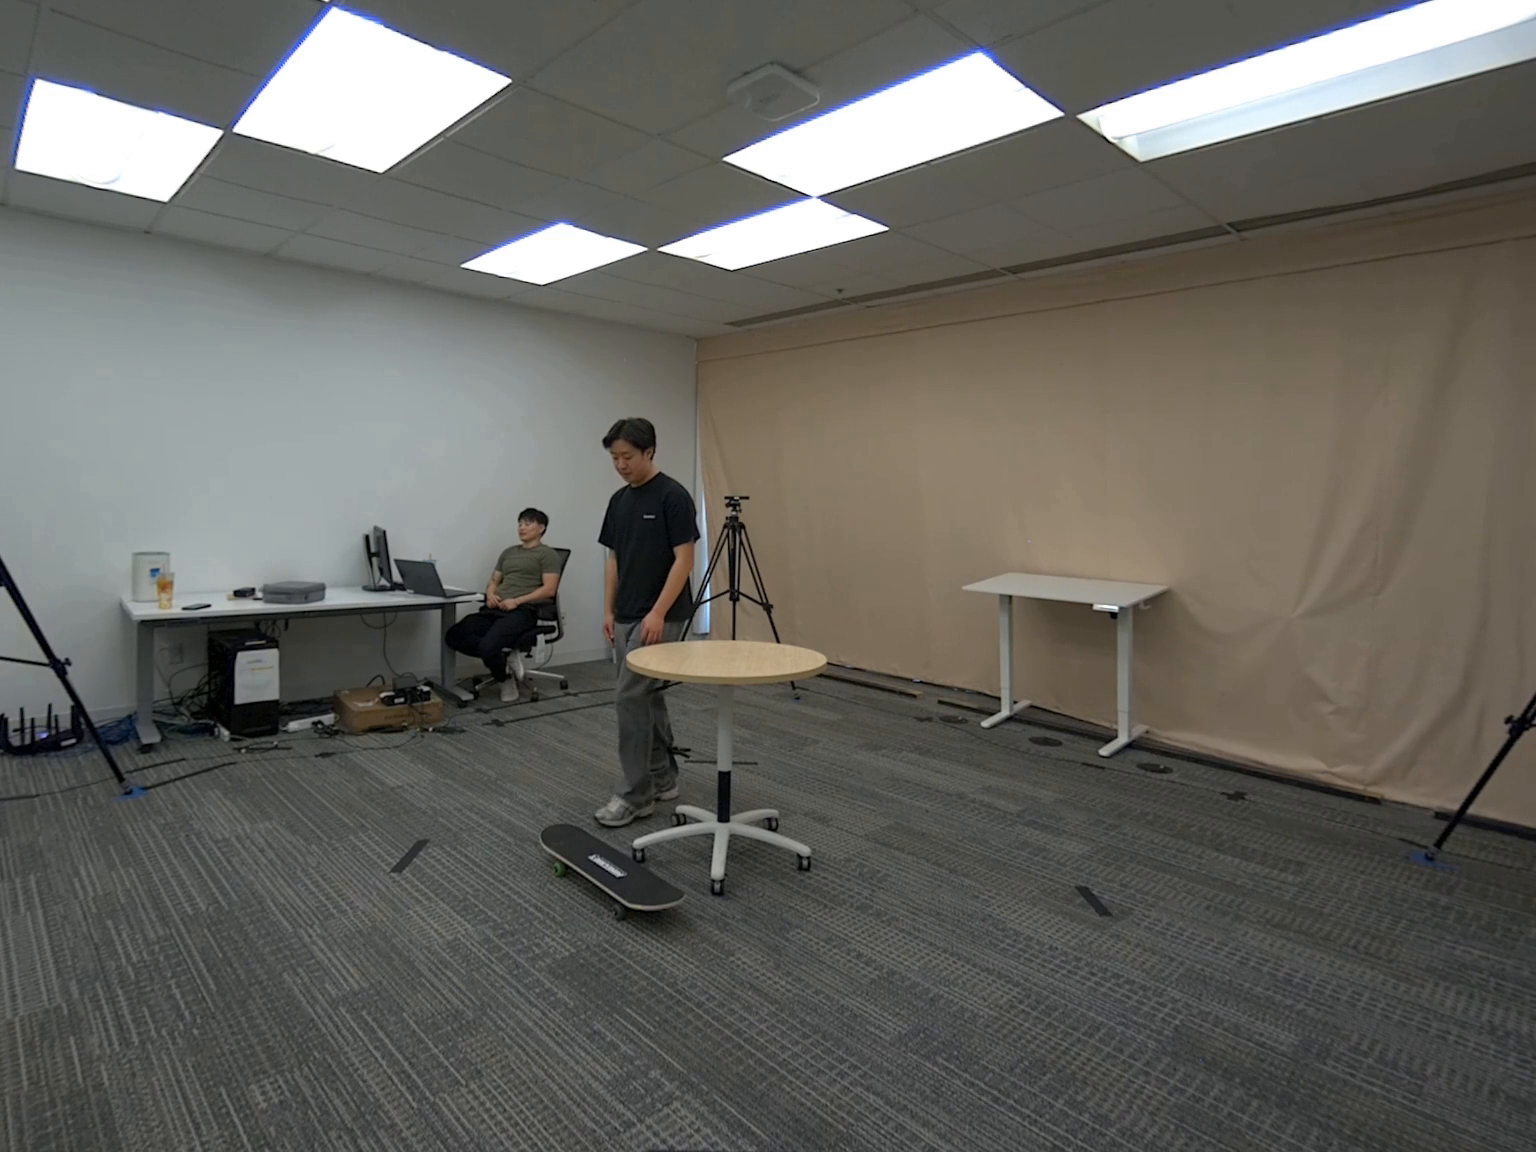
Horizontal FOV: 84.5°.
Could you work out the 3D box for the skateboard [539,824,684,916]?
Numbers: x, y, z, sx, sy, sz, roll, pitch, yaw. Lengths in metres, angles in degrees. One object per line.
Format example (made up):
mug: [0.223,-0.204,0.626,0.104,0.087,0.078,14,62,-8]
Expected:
skateboard: [-0.576,1.057,2.963,0.189,0.110,0.806,-2,6,-41]
